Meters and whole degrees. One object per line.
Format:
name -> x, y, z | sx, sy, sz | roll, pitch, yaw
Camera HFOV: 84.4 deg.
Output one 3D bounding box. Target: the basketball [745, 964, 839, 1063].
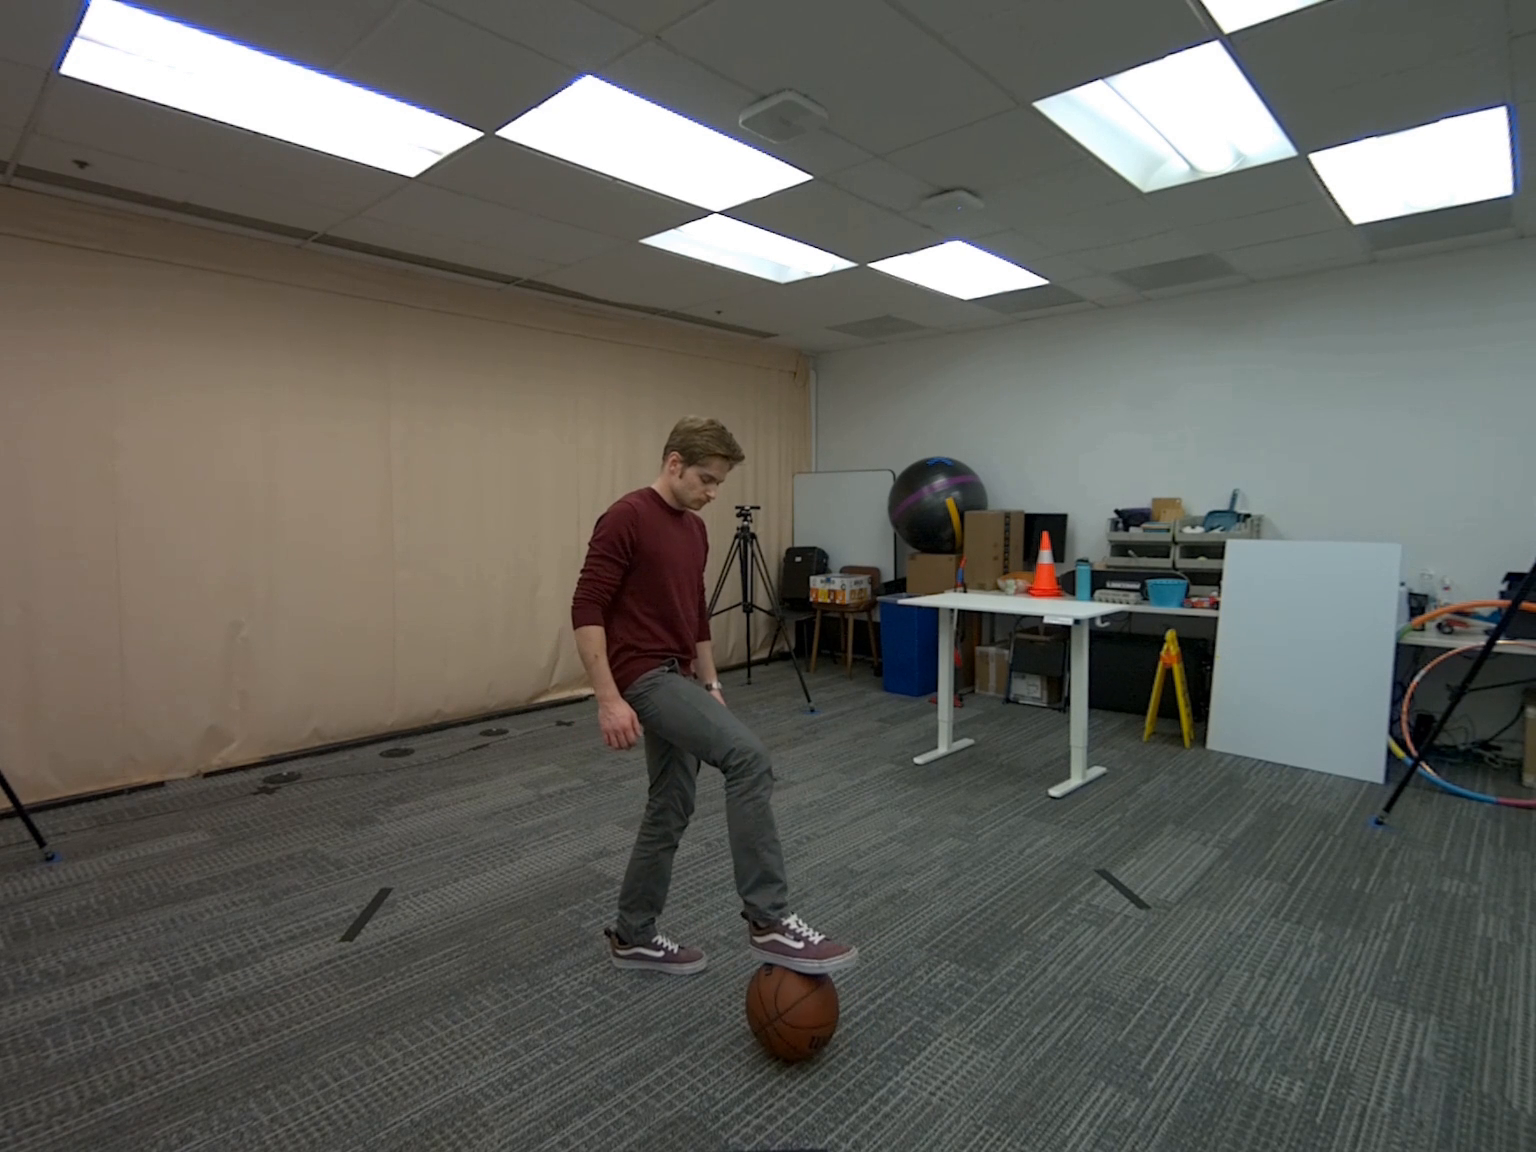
basketball -> 0.064, 1.100, 2.141 | 0.236, 0.235, 0.237 | 0, 4, -2
